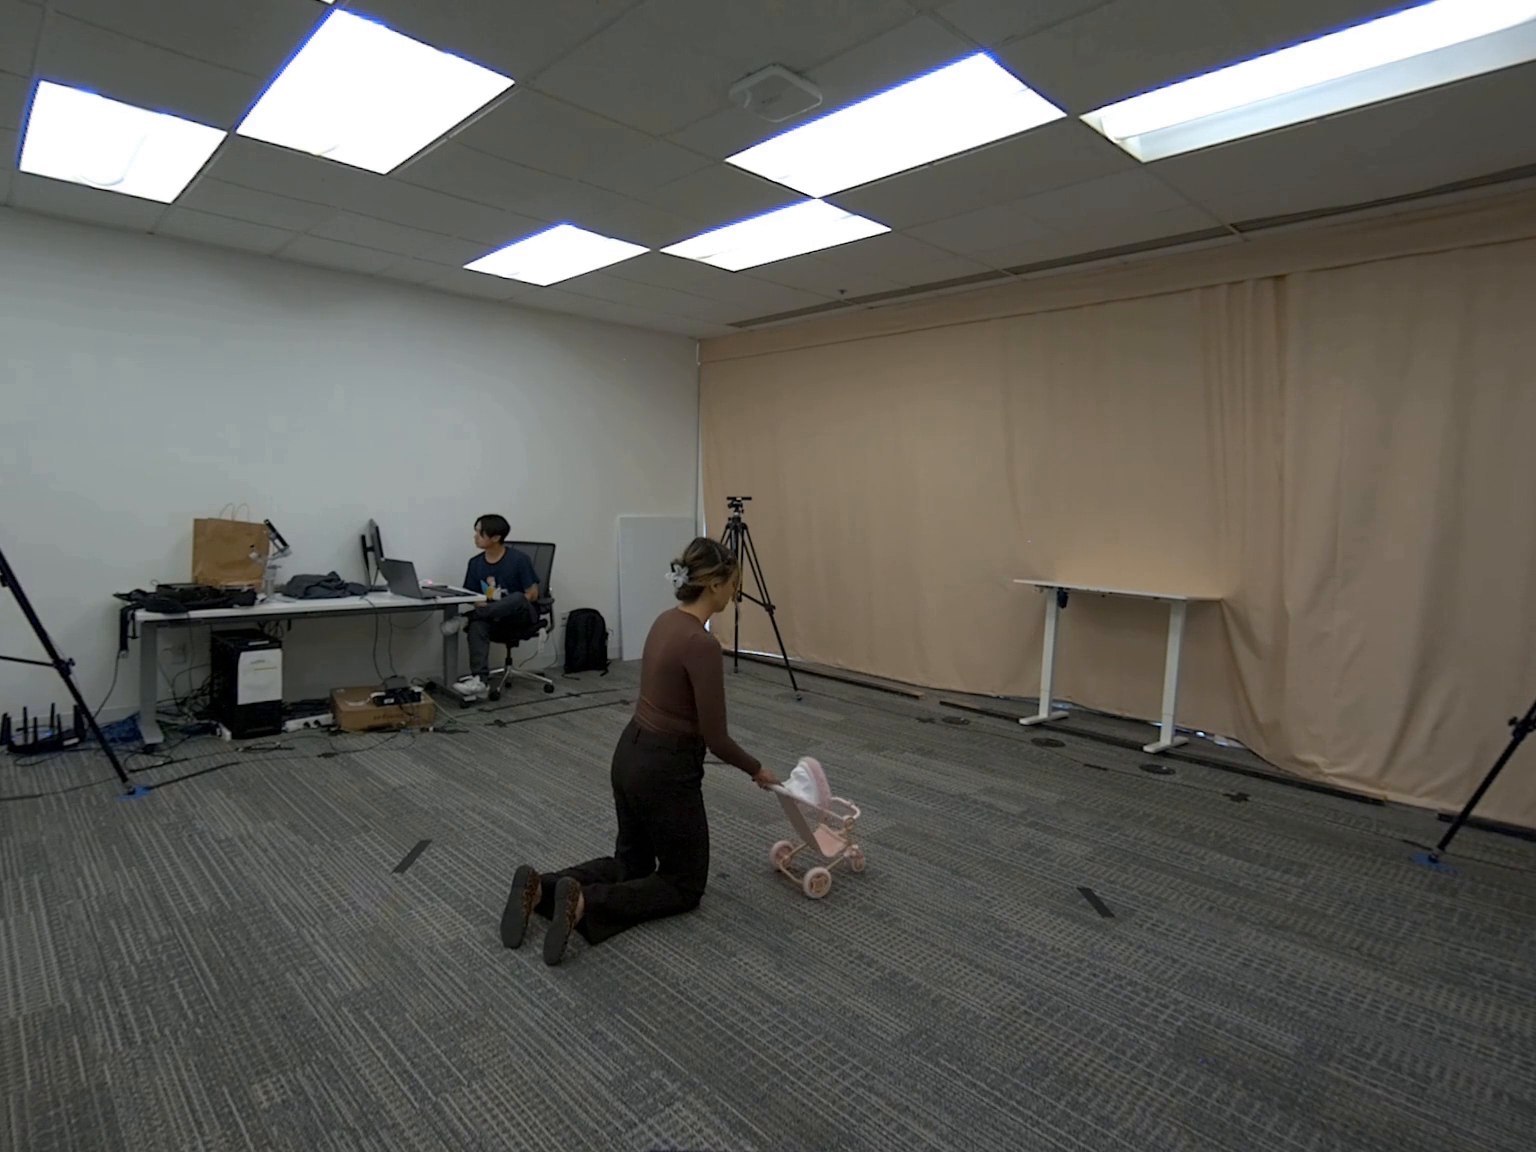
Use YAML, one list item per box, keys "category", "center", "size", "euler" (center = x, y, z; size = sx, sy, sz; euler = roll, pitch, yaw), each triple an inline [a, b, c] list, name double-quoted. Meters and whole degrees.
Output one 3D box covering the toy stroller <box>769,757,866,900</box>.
- category: "toy stroller"
  center: [0.161, 0.890, 3.064]
  size: [0.338, 0.530, 0.287]
  euler: [-19, 11, -20]
